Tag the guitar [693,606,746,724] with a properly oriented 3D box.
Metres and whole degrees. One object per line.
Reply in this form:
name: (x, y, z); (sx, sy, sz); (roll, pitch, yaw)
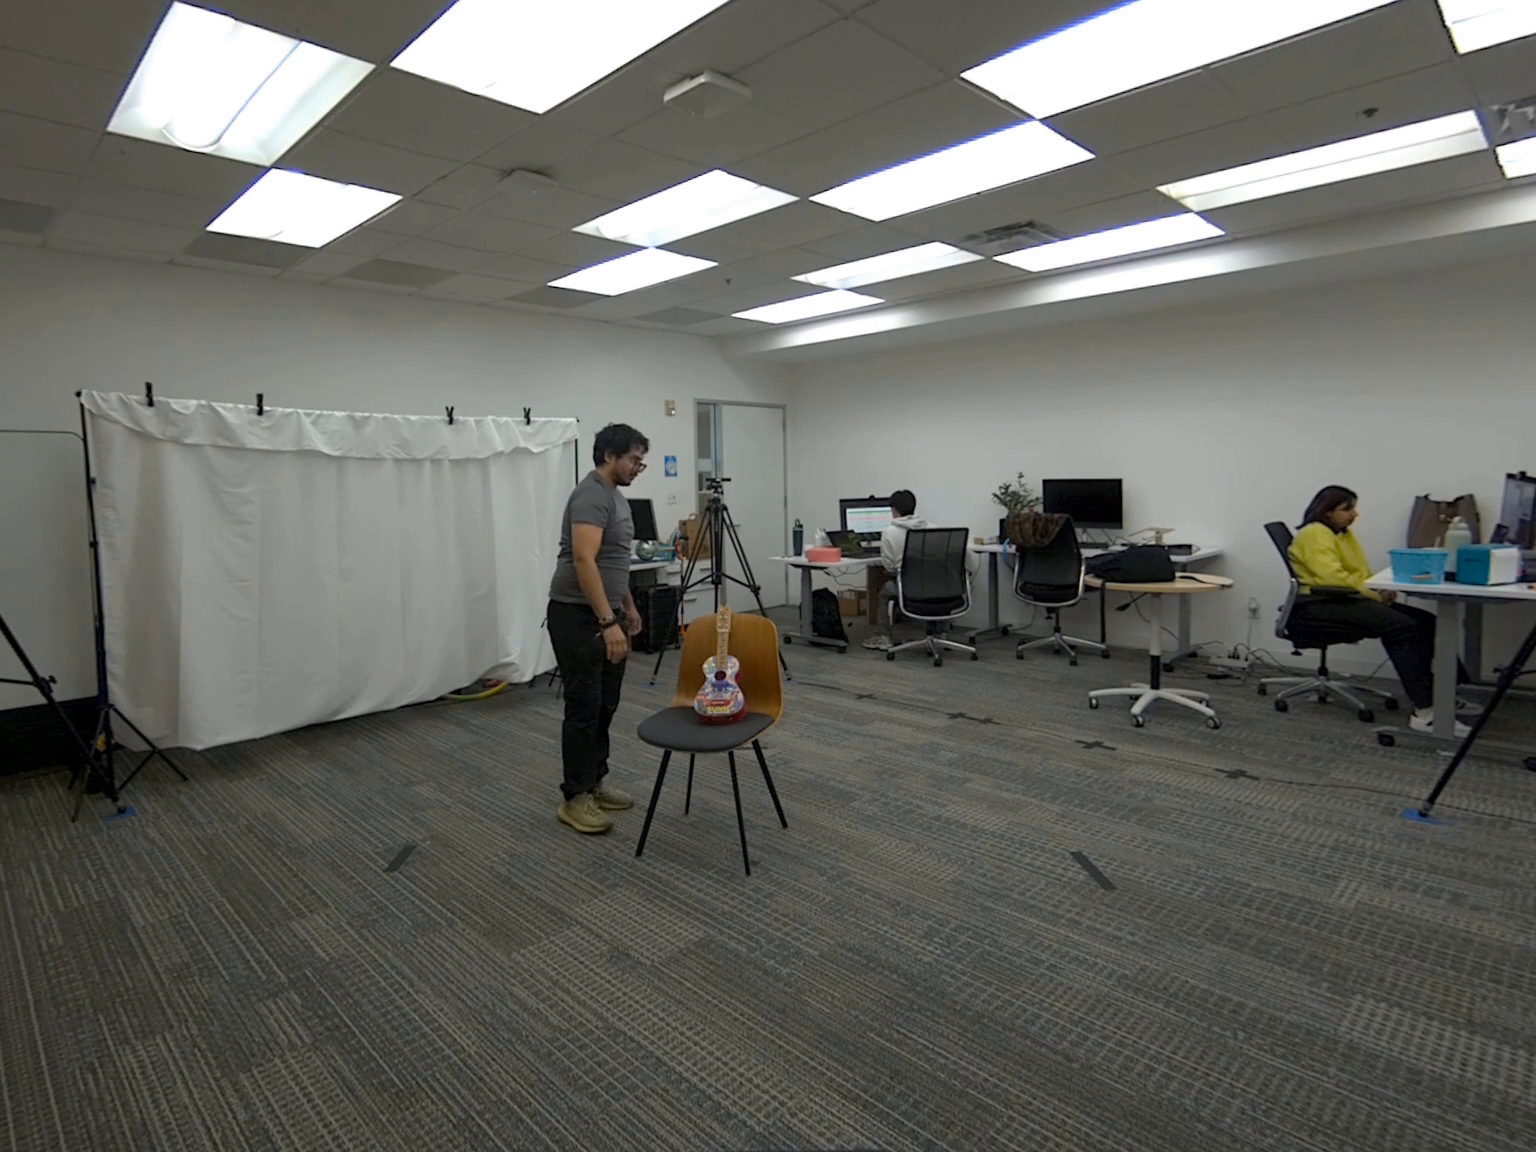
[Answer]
guitar: (-0.160, 0.339, 3.346); (0.195, 0.508, 0.068); (0, -37, 13)
